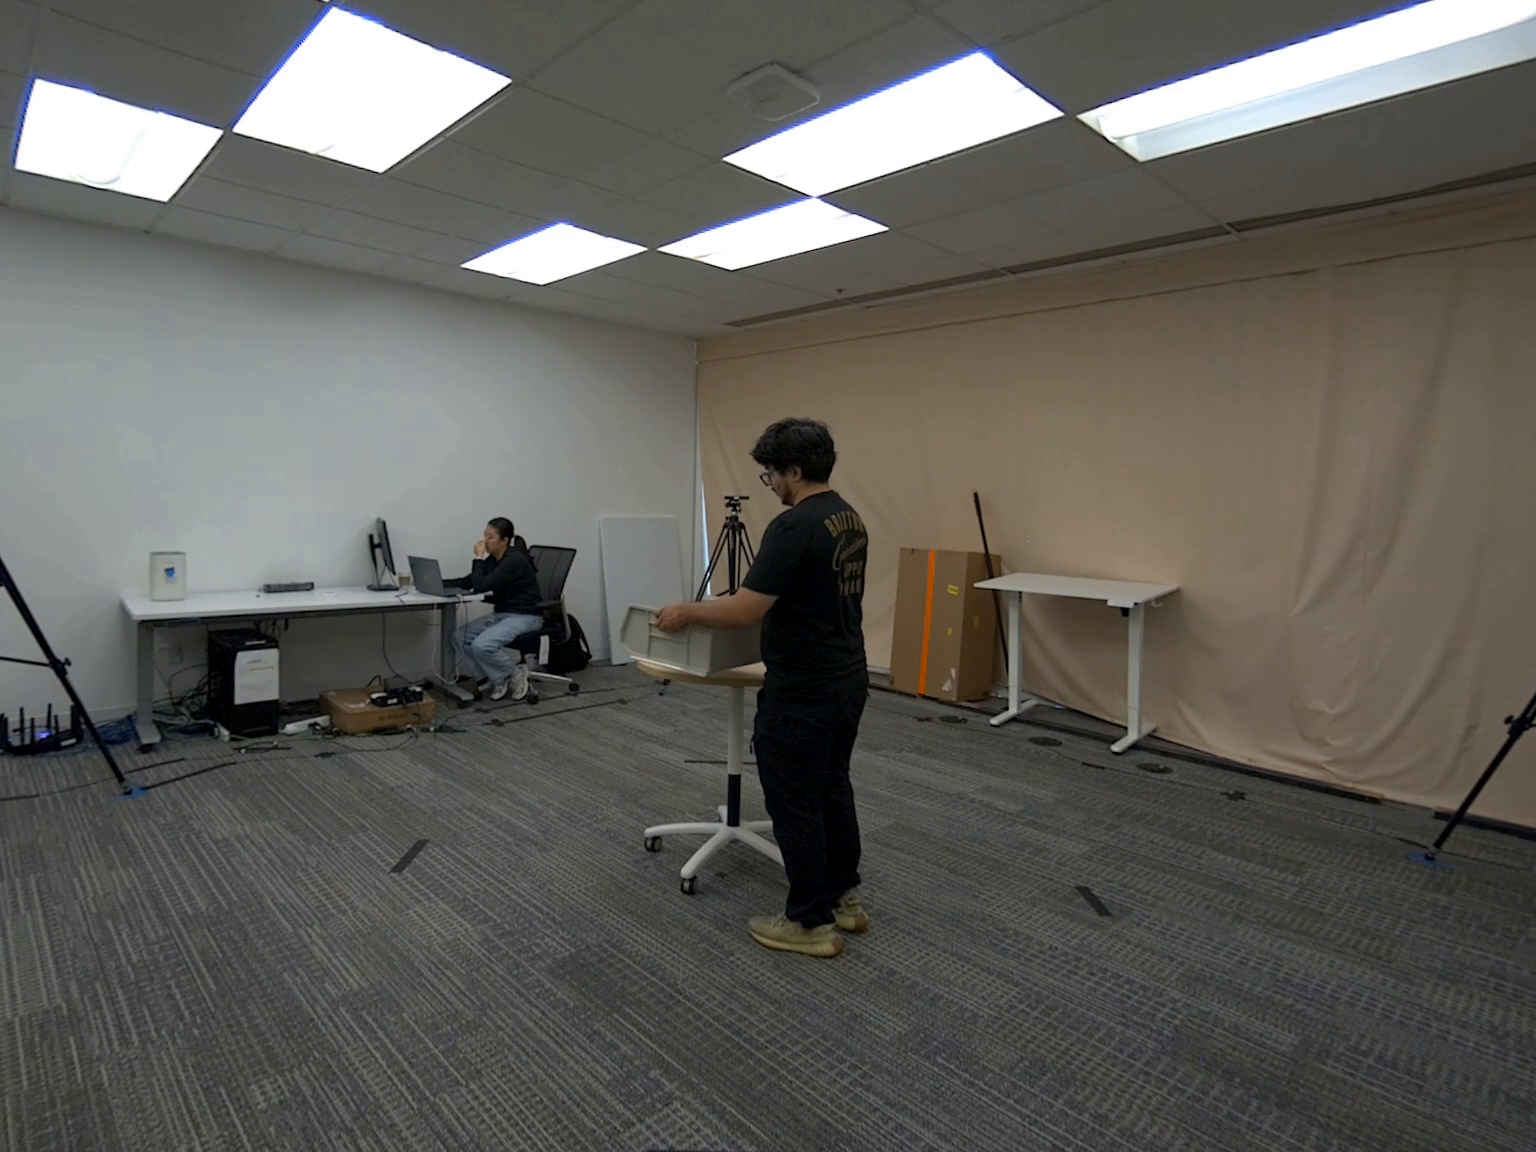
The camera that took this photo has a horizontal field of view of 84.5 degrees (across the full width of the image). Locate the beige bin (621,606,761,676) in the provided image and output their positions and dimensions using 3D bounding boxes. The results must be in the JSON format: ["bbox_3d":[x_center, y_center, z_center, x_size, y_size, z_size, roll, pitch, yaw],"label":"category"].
[{"bbox_3d":[-0.211,0.185,2.799,0.387,0.188,0.413,10,7,35],"label":"beige bin"}]
